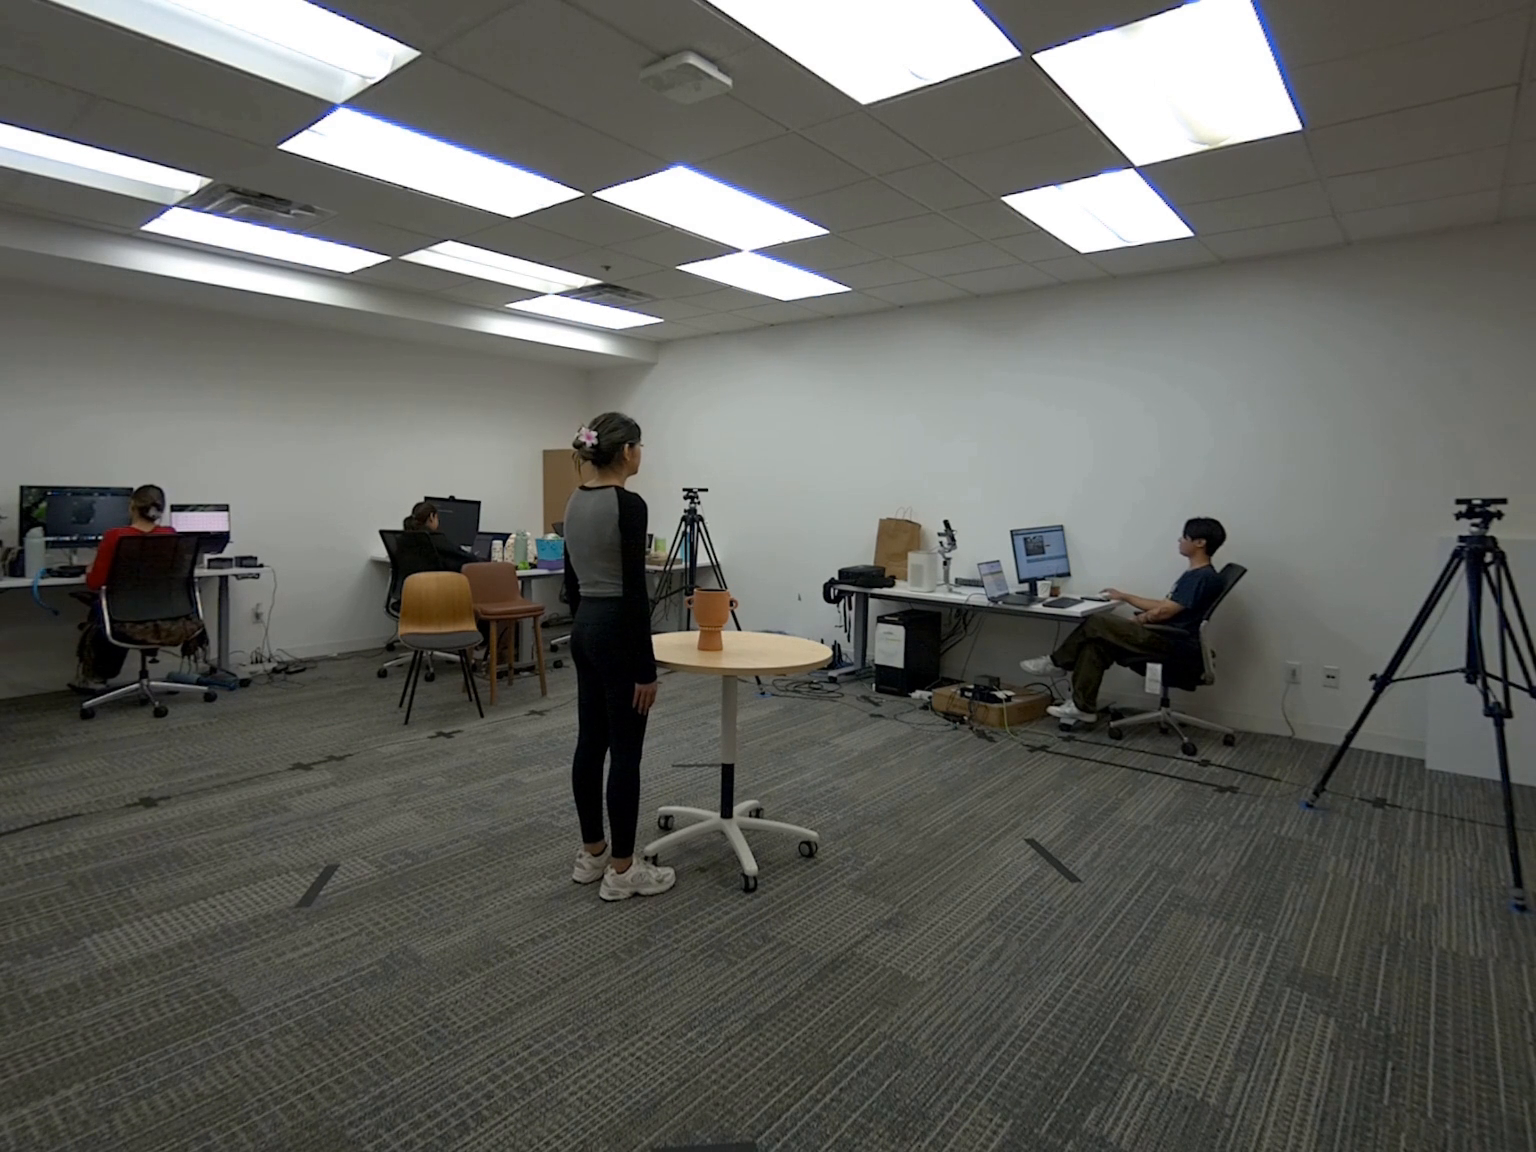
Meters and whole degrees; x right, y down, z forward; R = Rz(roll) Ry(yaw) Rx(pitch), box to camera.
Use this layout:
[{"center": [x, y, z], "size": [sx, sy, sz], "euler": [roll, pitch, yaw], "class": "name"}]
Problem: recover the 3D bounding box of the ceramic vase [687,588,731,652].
[{"center": [-0.224, 0.165, 3.172], "size": [0.164, 0.219, 0.131], "euler": [4, 4, 35], "class": "ceramic vase"}]
